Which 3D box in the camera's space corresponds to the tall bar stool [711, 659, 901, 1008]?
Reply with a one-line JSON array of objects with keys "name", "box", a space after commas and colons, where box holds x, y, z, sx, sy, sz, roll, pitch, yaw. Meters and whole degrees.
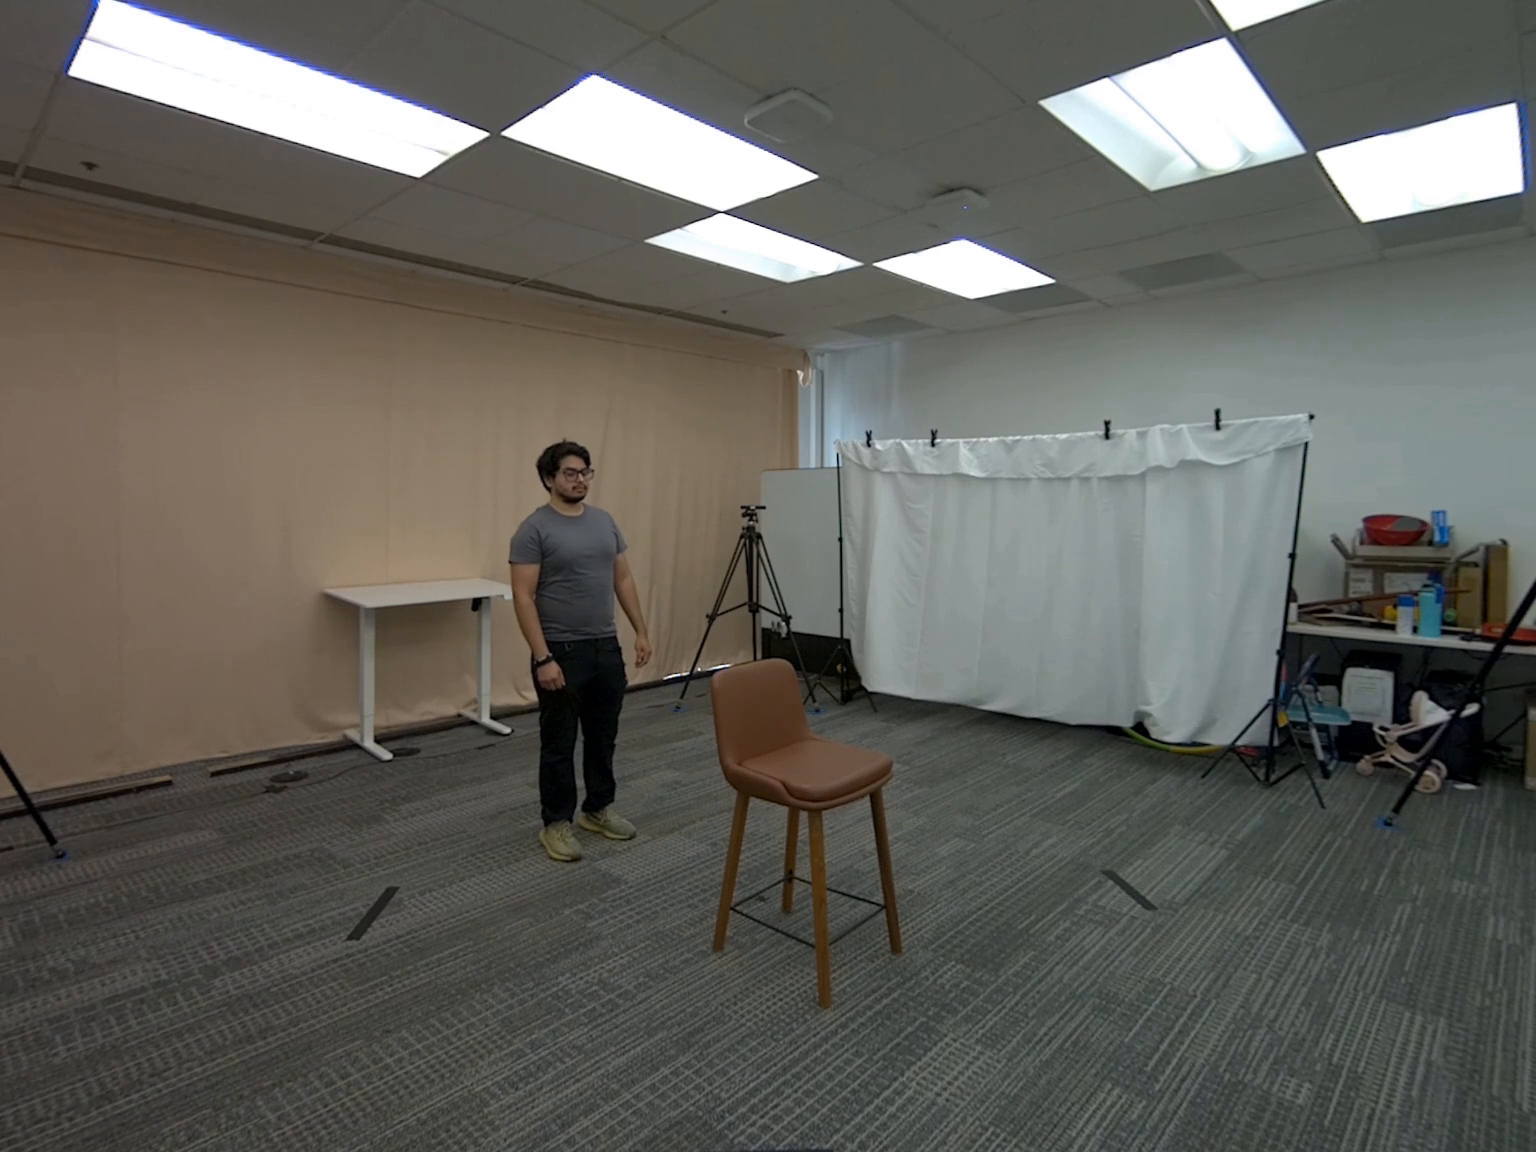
[{"name": "tall bar stool", "box": [0.116, 0.741, 2.607, 0.483, 0.888, 0.442, 1, 3, 42]}]
